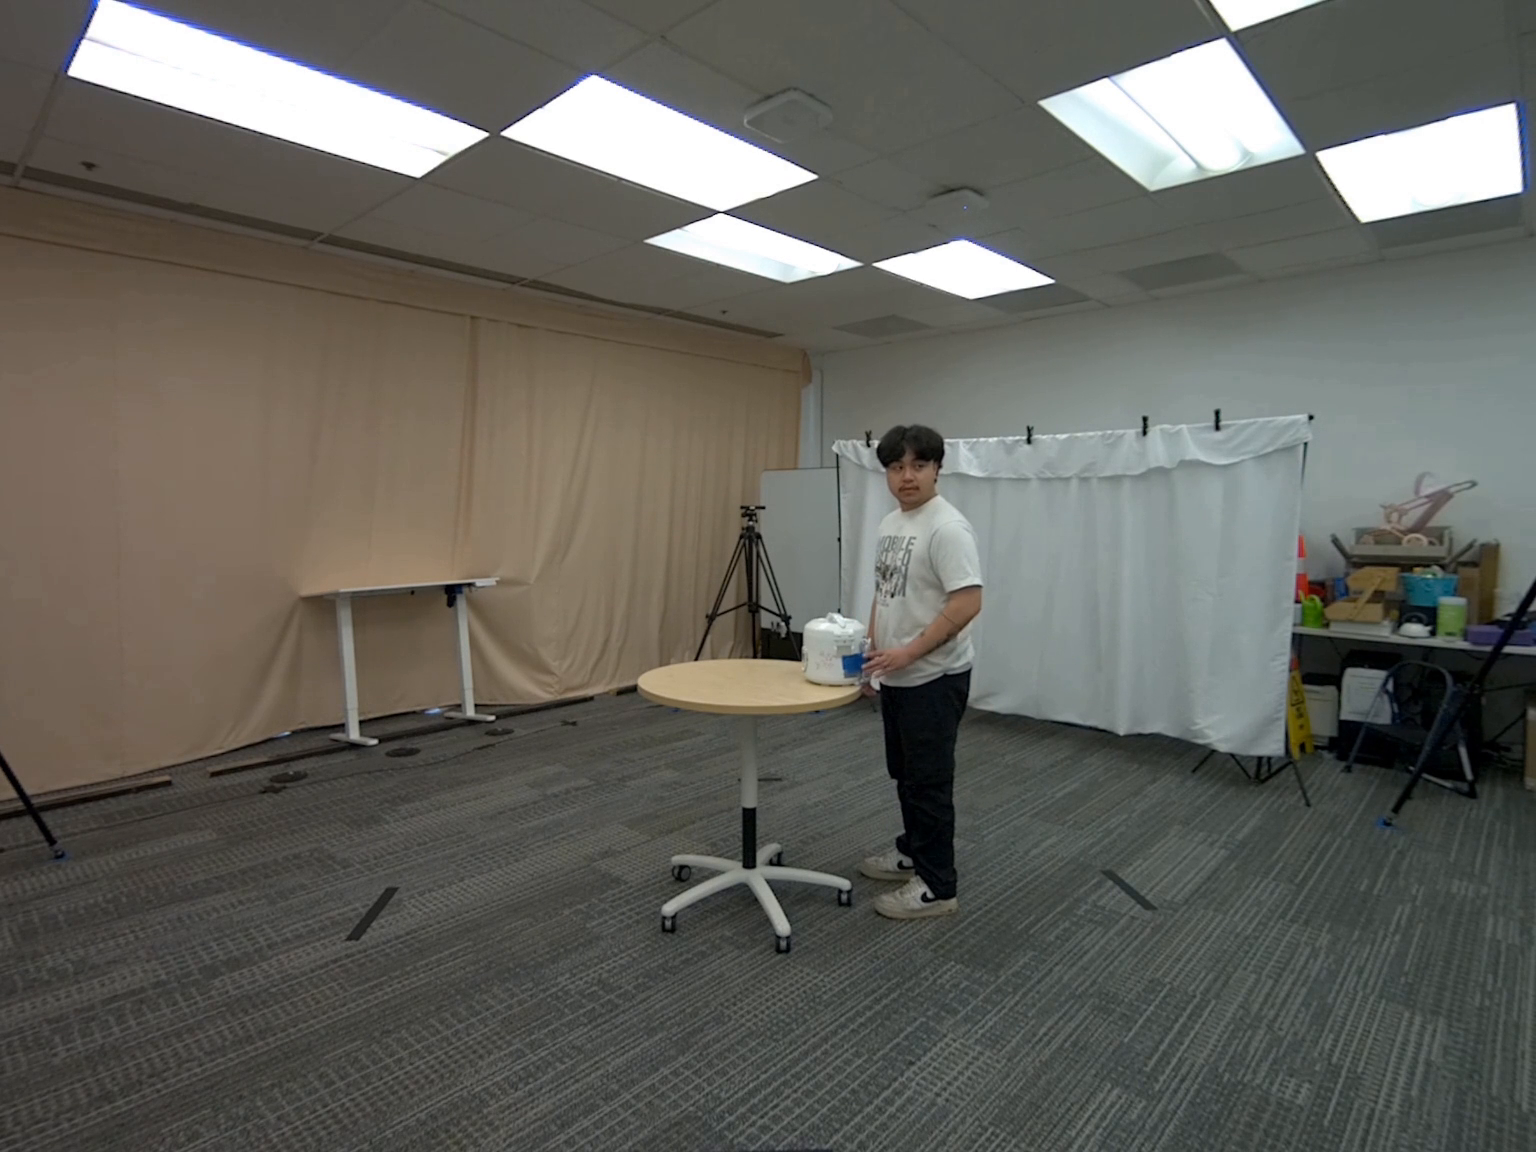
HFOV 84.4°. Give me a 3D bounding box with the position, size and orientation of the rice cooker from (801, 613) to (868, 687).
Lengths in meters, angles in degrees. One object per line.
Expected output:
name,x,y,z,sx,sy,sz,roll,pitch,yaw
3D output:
rice cooker,0.231,0.246,2.856,0.215,0.232,0.223,1,3,-9
